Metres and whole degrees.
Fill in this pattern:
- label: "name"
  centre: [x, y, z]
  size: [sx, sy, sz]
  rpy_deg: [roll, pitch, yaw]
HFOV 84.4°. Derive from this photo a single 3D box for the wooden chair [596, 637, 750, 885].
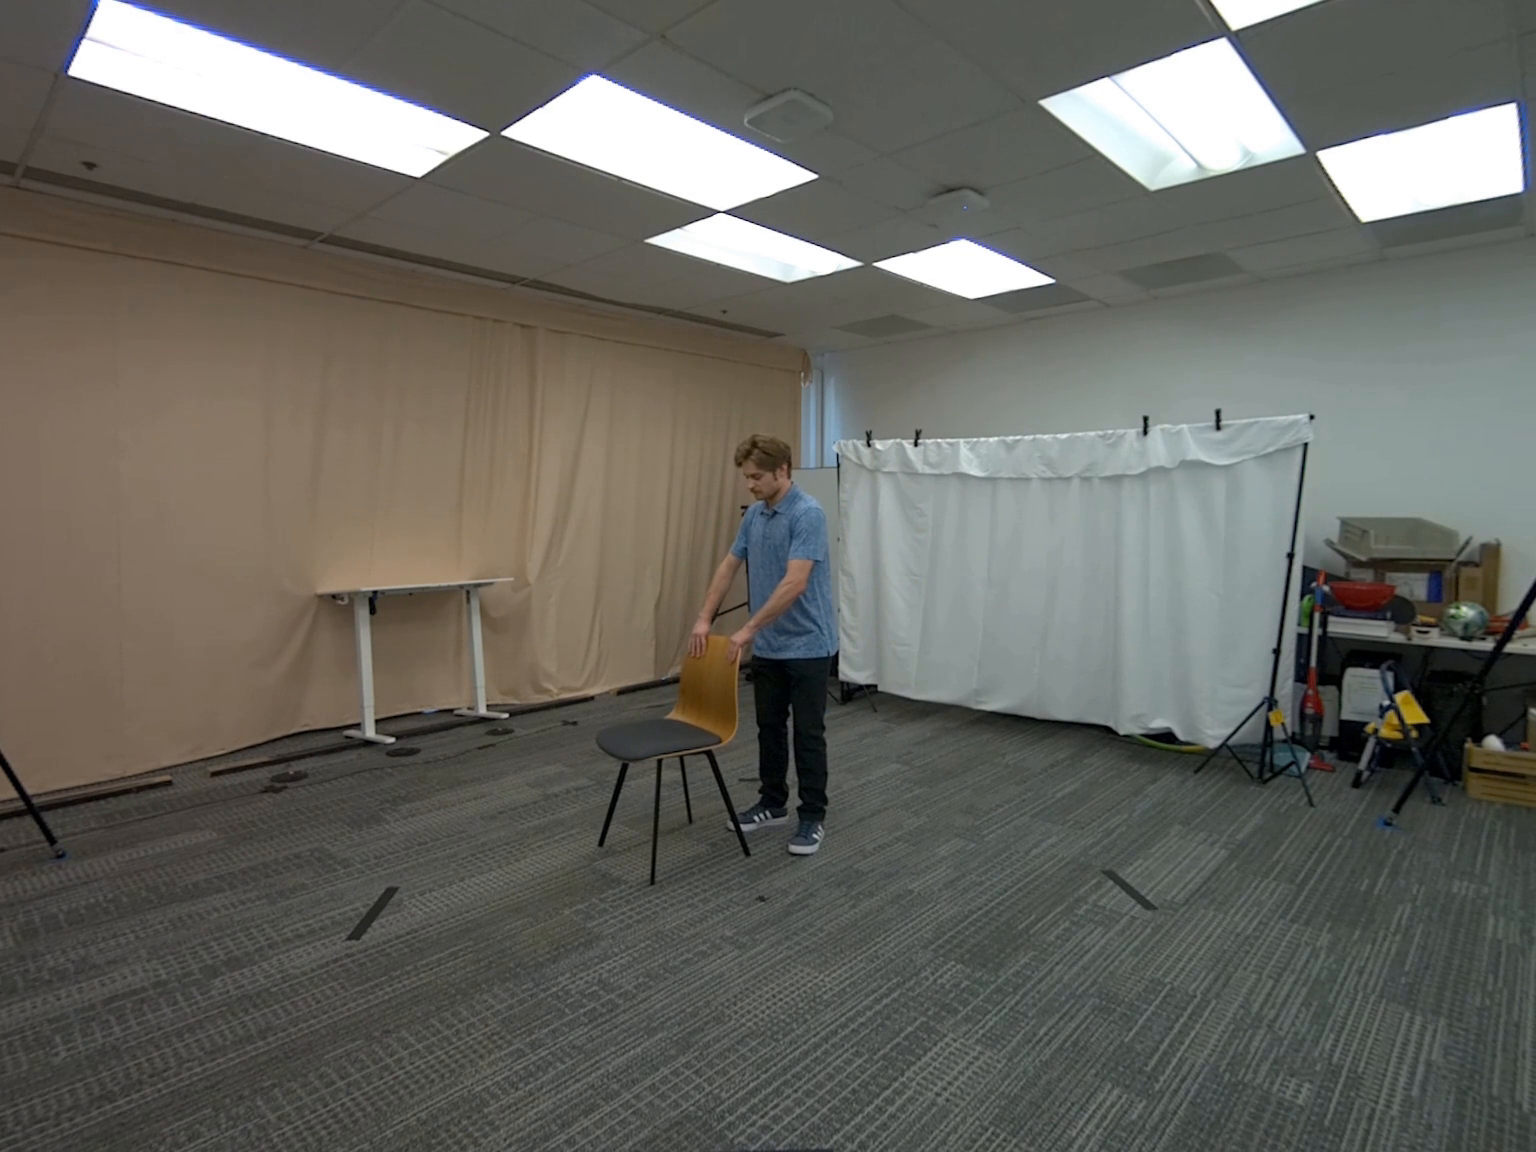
- label: "wooden chair"
  centre: [-0.390, 0.685, 3.368]
  size: [0.507, 0.877, 0.493]
  rpy_deg: [3, 1, -36]
